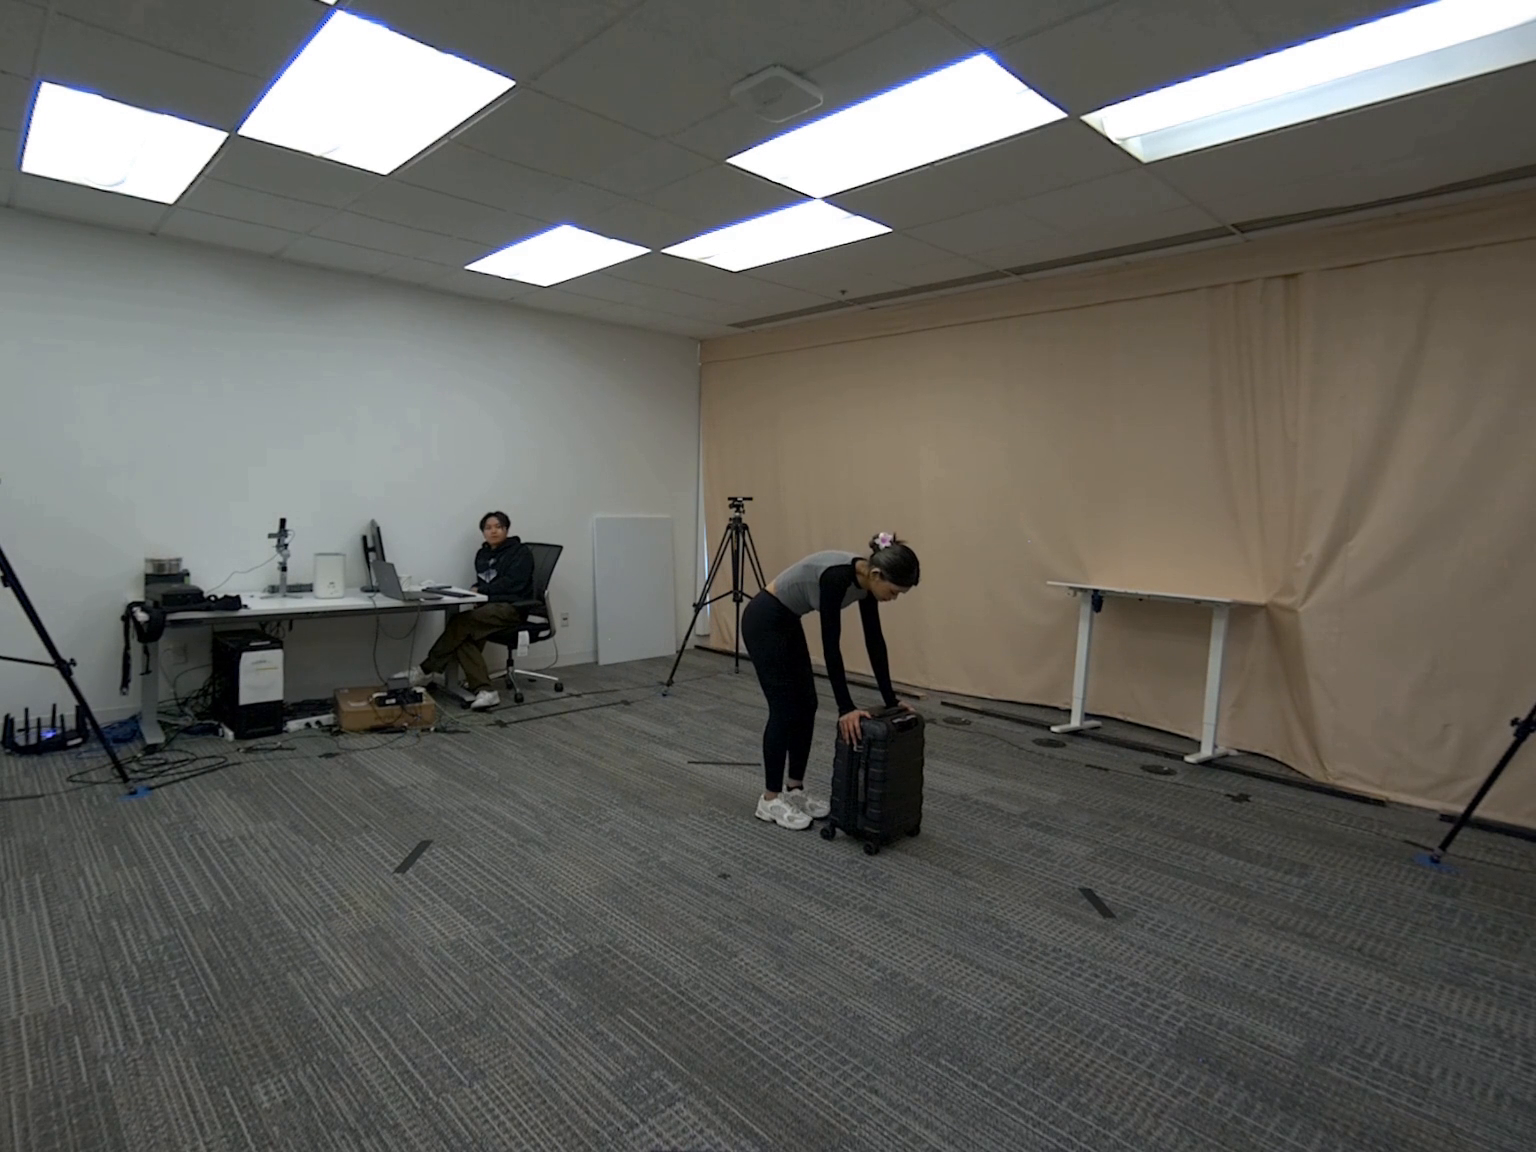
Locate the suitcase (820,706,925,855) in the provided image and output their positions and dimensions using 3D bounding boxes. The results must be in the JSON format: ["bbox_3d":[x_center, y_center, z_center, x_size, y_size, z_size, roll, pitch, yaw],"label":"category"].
[{"bbox_3d":[0.446,0.816,3.475,0.255,0.547,0.367,8,7,43],"label":"suitcase"}]
